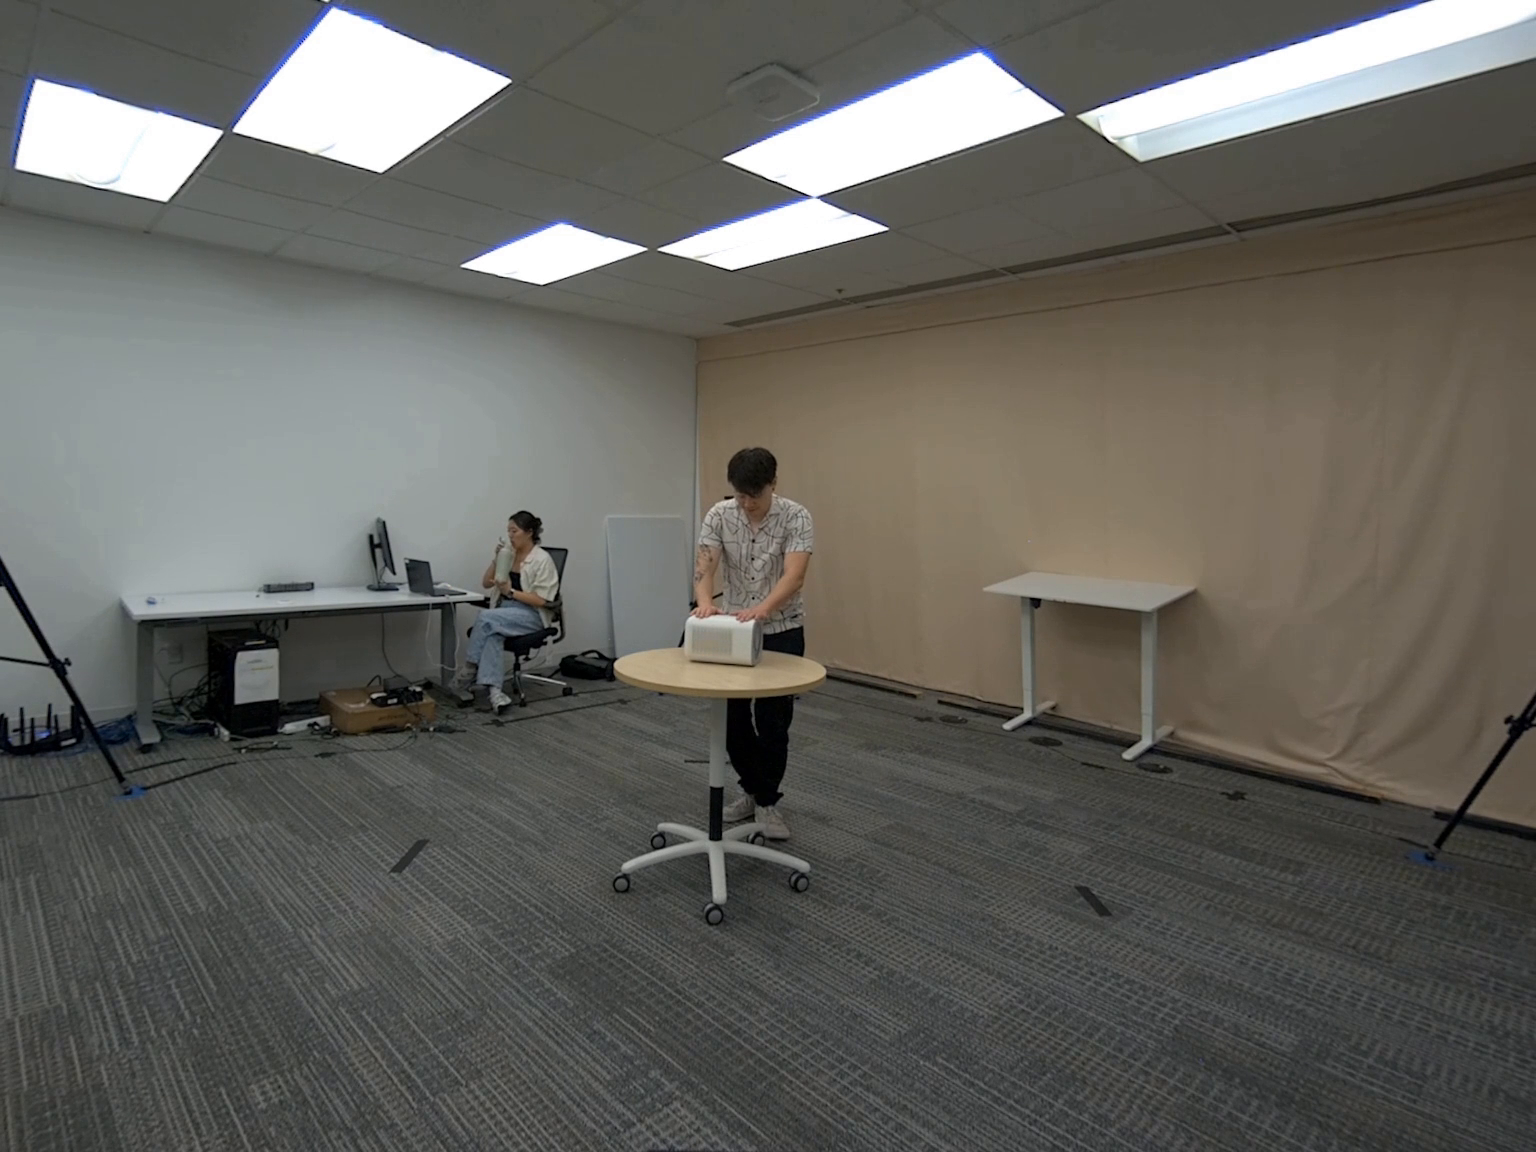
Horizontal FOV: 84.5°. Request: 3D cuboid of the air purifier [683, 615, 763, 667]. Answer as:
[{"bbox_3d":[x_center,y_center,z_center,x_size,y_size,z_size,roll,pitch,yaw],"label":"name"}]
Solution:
[{"bbox_3d":[-0.178,0.233,3.121,0.269,0.171,0.169,3,2,15],"label":"air purifier"}]
